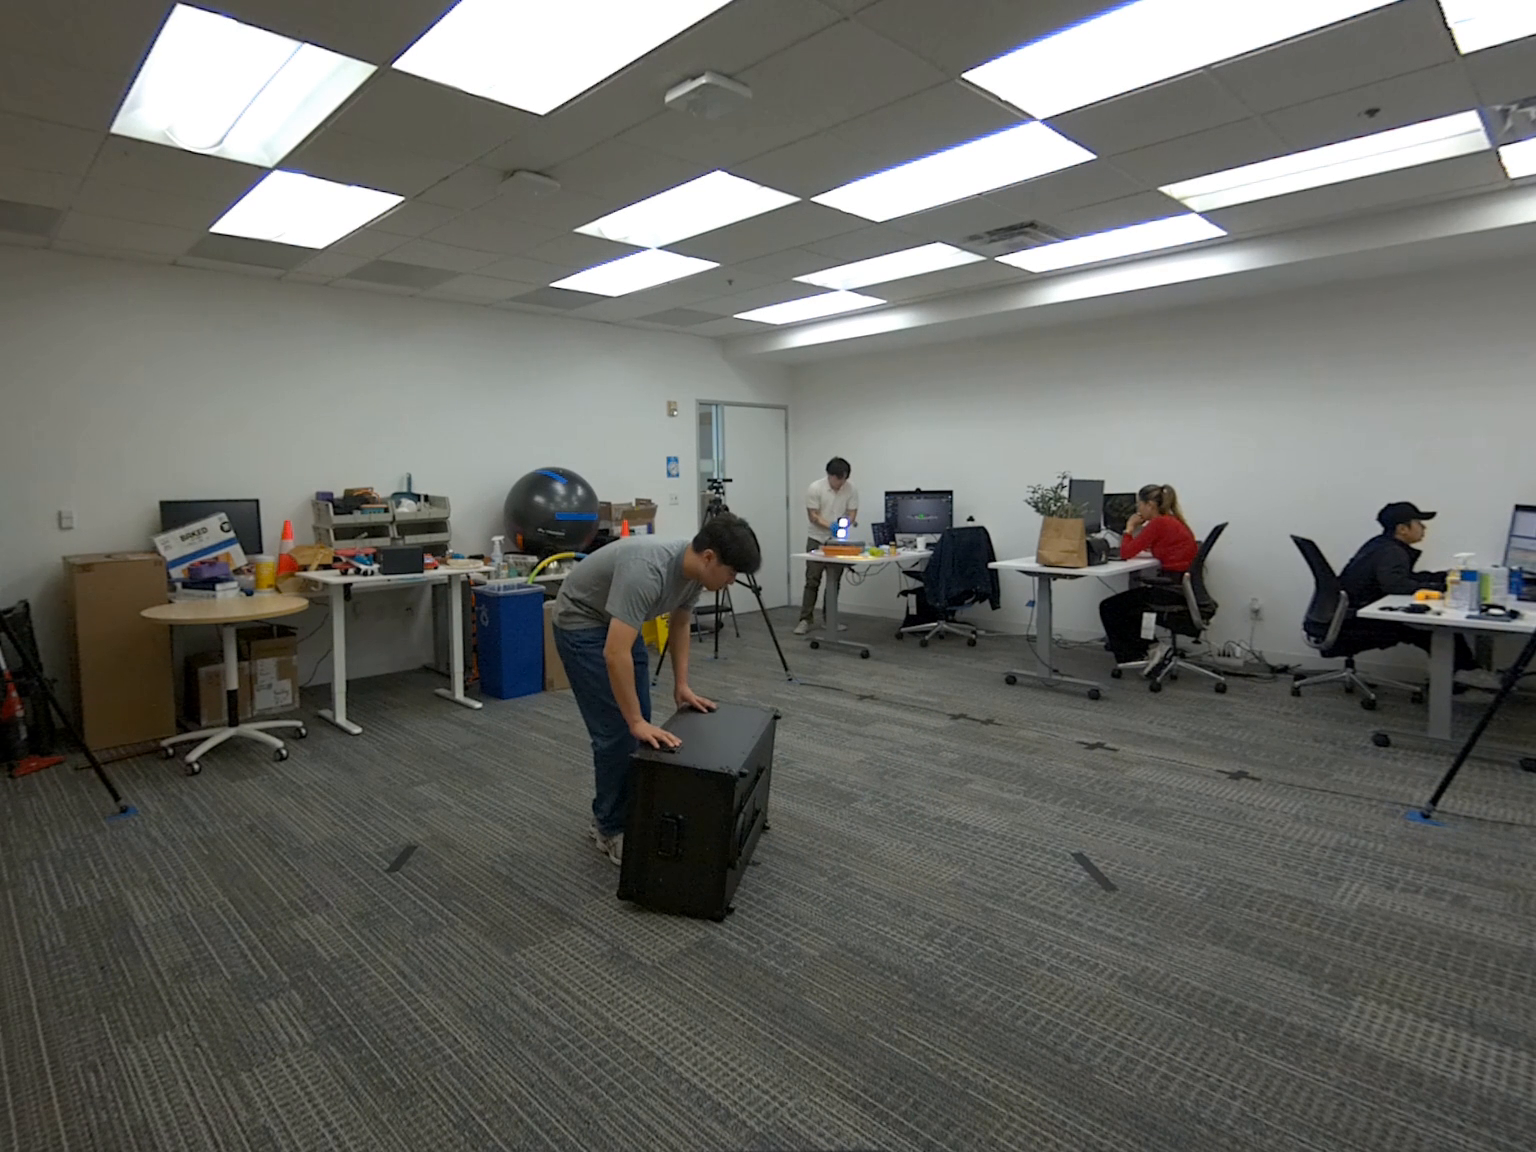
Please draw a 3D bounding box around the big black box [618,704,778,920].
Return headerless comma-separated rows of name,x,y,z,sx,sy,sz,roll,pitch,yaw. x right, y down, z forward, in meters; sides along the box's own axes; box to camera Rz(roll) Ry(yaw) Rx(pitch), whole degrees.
big black box,-0.206,0.777,3.119,0.401,0.519,0.855,8,7,10
